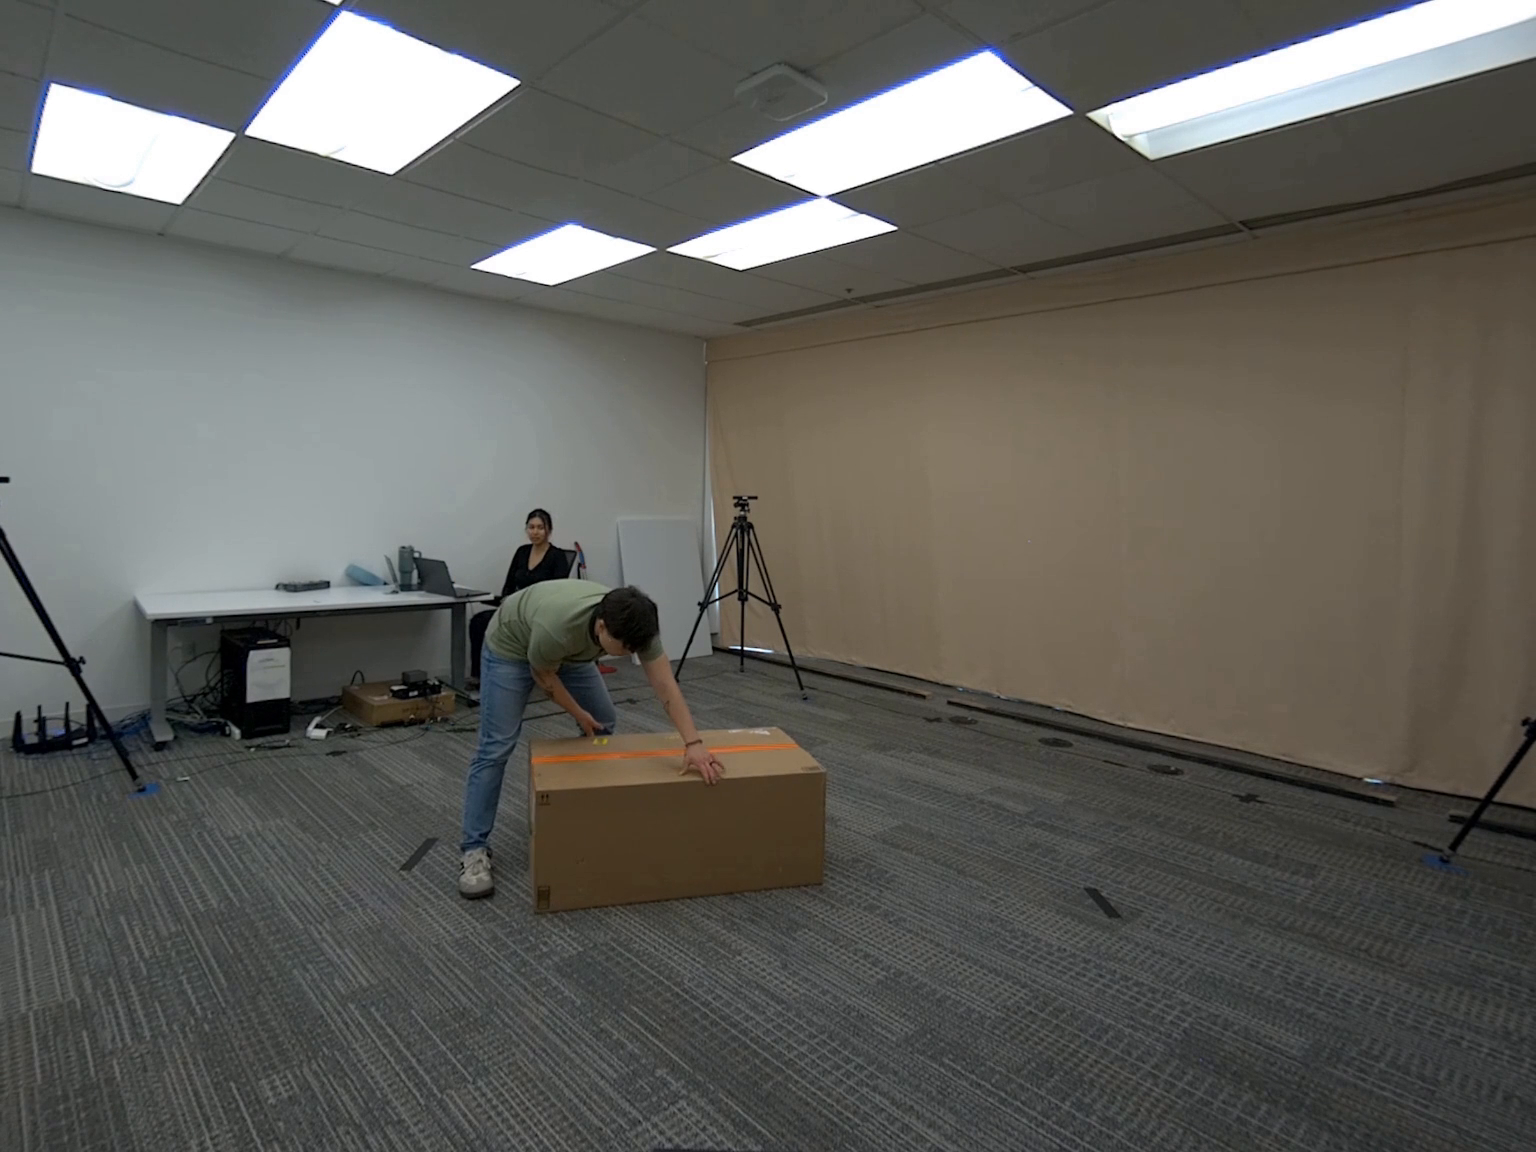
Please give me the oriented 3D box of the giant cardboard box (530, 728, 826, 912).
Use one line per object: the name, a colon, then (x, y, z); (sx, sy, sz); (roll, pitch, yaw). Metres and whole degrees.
giant cardboard box: (-0.366, 0.875, 3.161); (1.013, 0.425, 0.586); (0, 4, -16)
